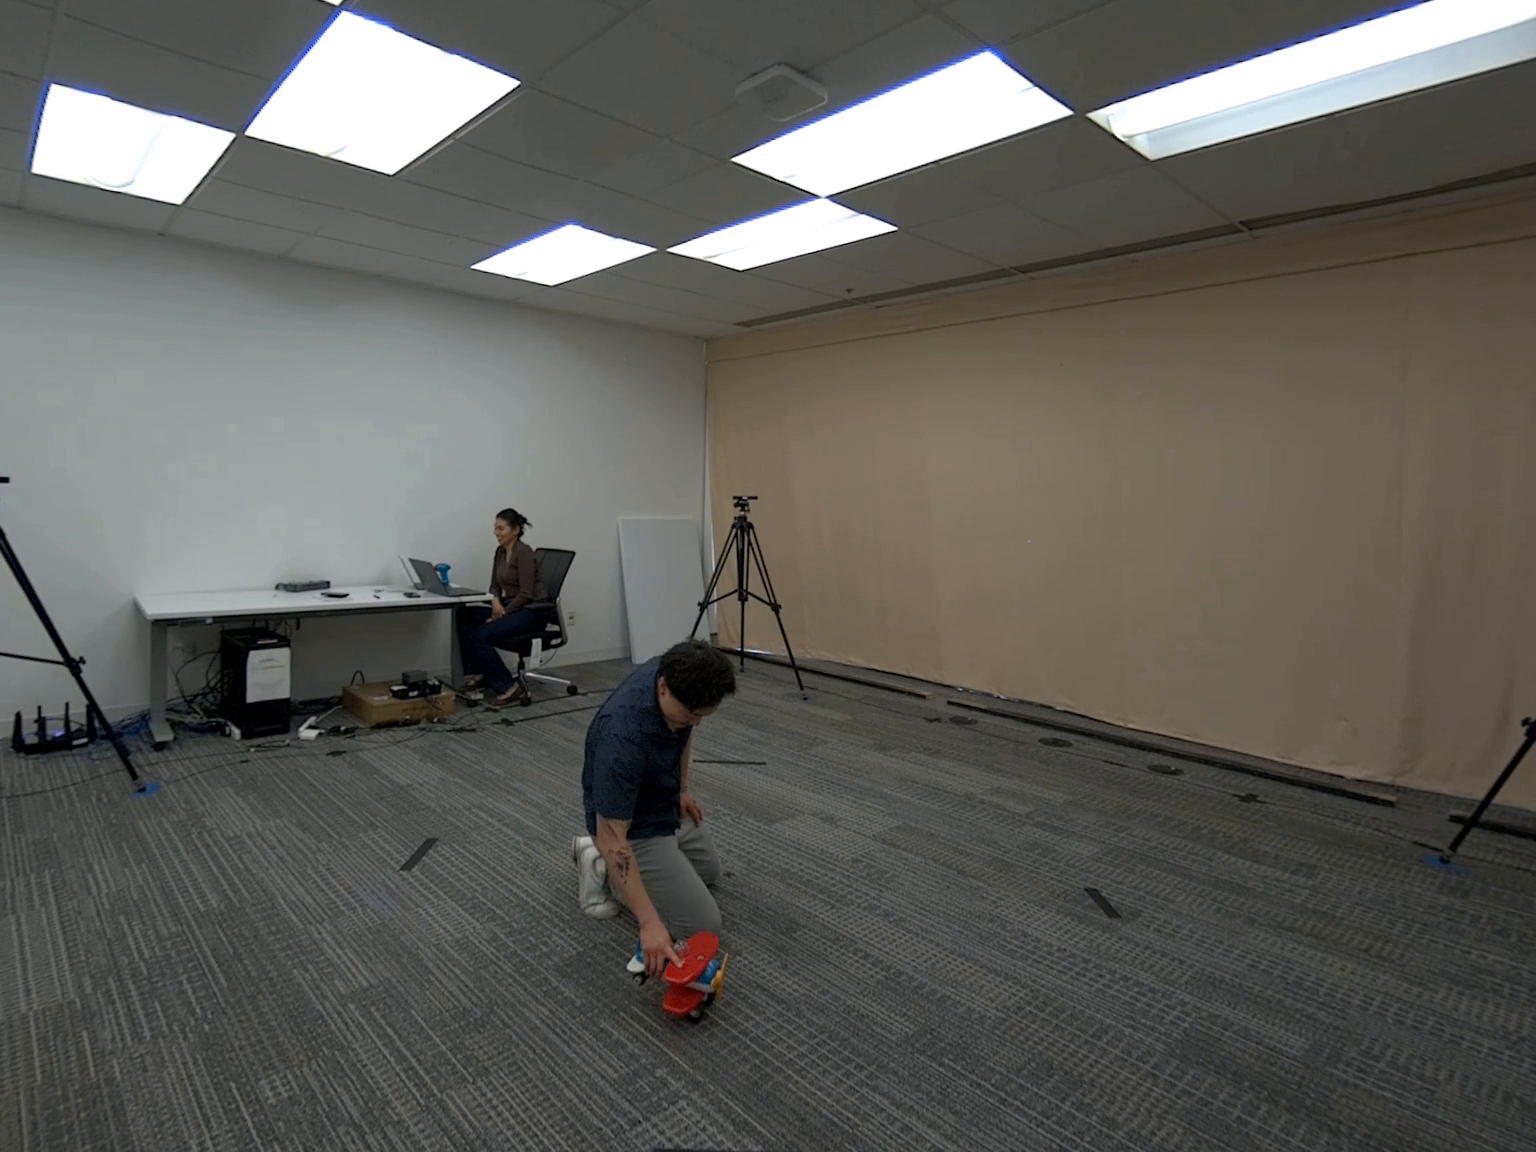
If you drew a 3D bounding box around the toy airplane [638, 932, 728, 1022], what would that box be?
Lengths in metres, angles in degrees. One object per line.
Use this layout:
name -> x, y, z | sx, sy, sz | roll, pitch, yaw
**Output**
toy airplane -> -0.258, 1.083, 2.274 | 0.257, 0.156, 0.255 | 15, 10, -11
